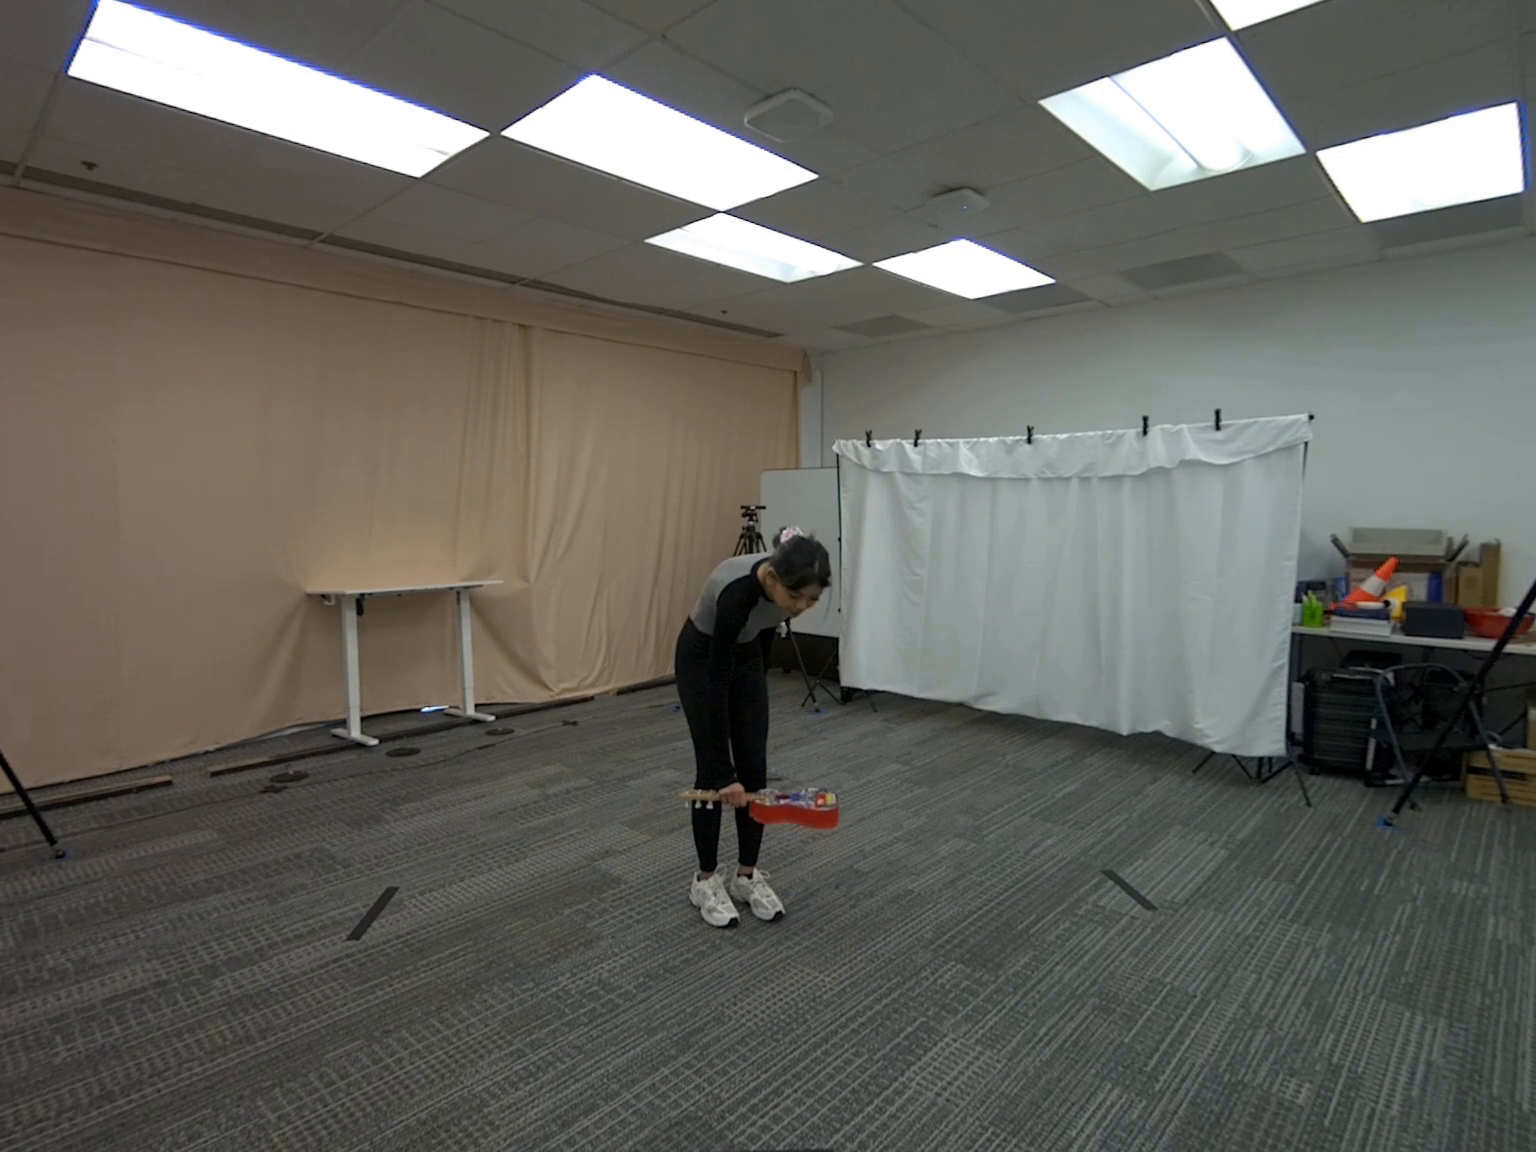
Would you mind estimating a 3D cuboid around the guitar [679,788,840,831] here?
[{"bbox_3d":[-0.020,0.710,2.639,0.506,0.070,0.190,2,5,14],"label":"guitar"}]
